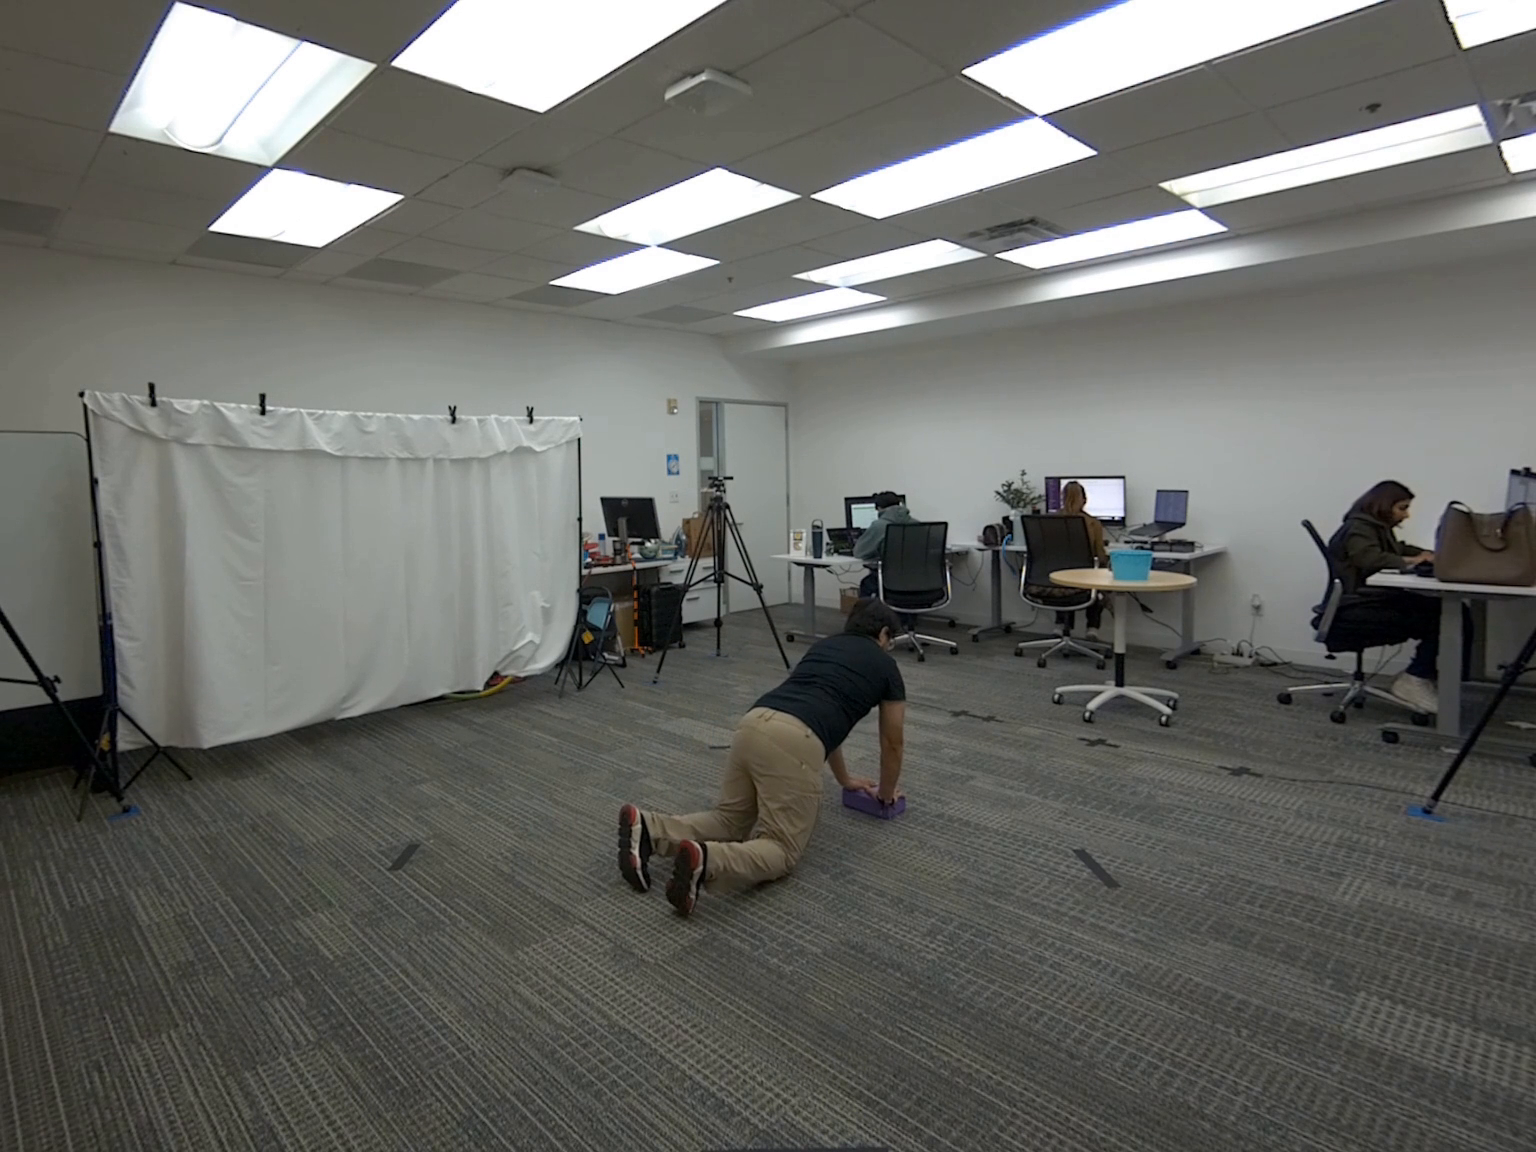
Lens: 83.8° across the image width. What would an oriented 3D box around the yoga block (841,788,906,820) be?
[{"bbox_3d":[0.446,0.934,3.585,0.236,0.076,0.145,6,7,43],"label":"yoga block"}]
